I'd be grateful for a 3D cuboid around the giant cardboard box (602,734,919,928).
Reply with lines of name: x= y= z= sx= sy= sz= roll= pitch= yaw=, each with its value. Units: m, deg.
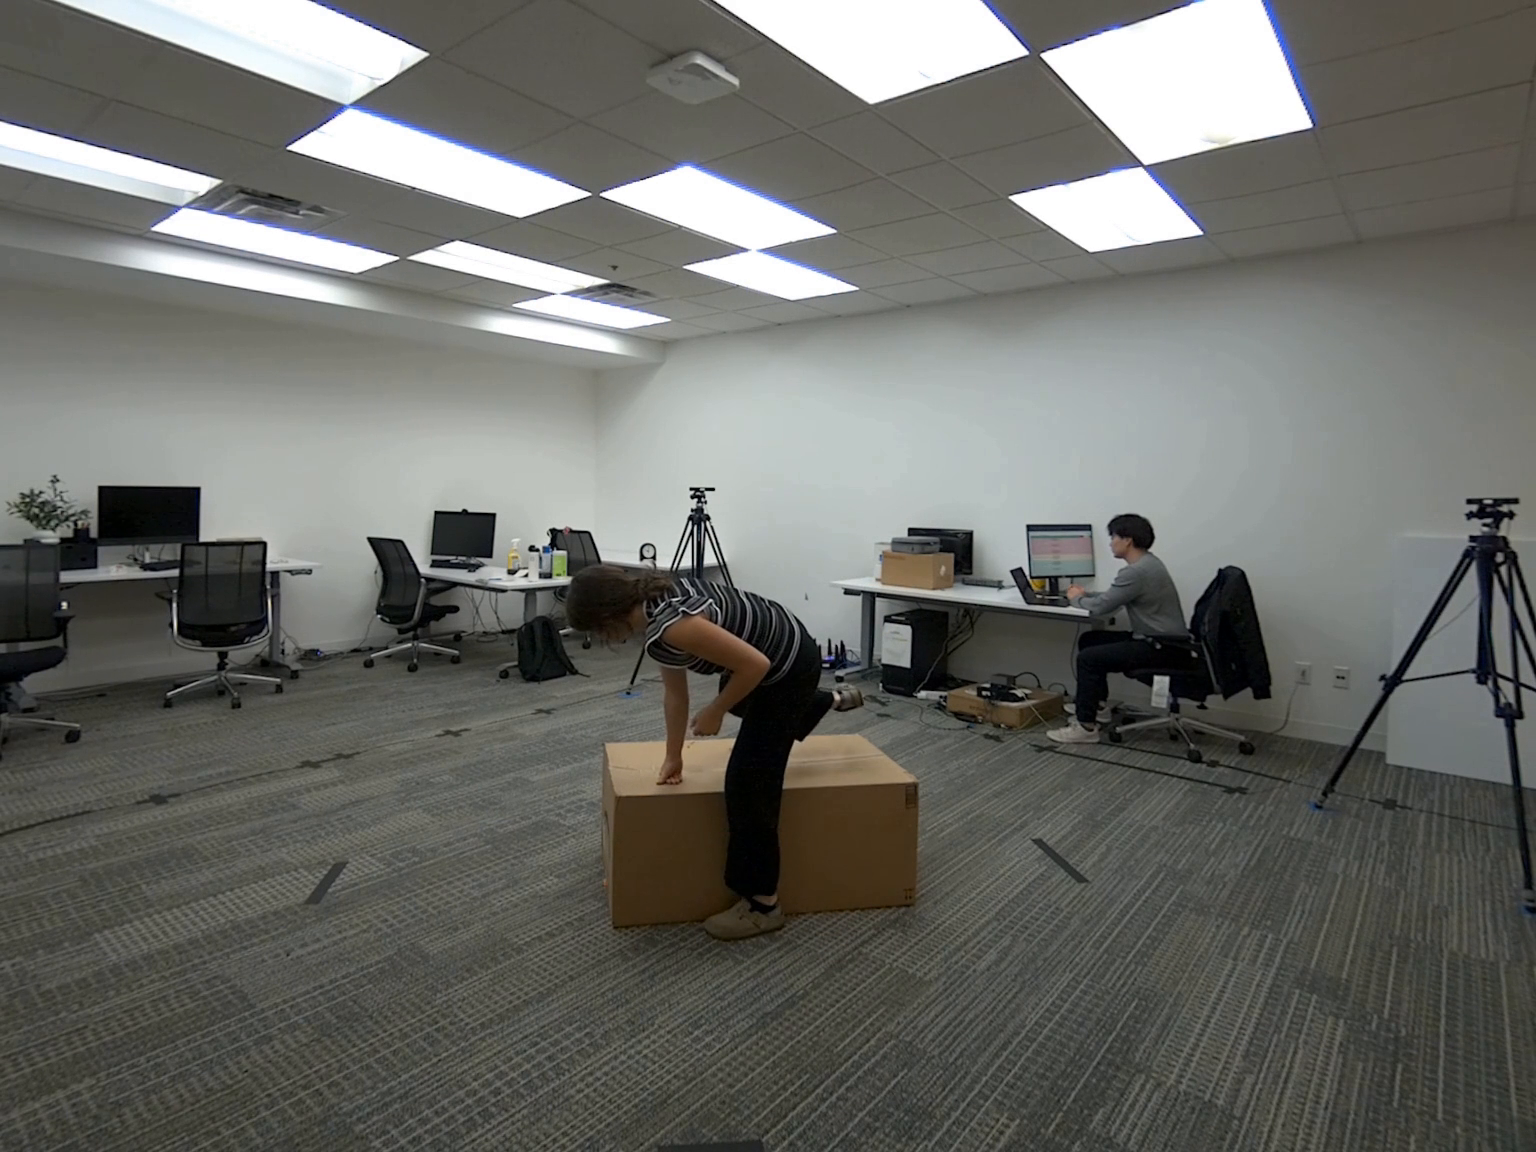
giant cardboard box: x=-0.068 y=0.868 z=3.034 sx=1.013 sy=0.425 sz=0.587 roll=0 pitch=4 yaw=-12
